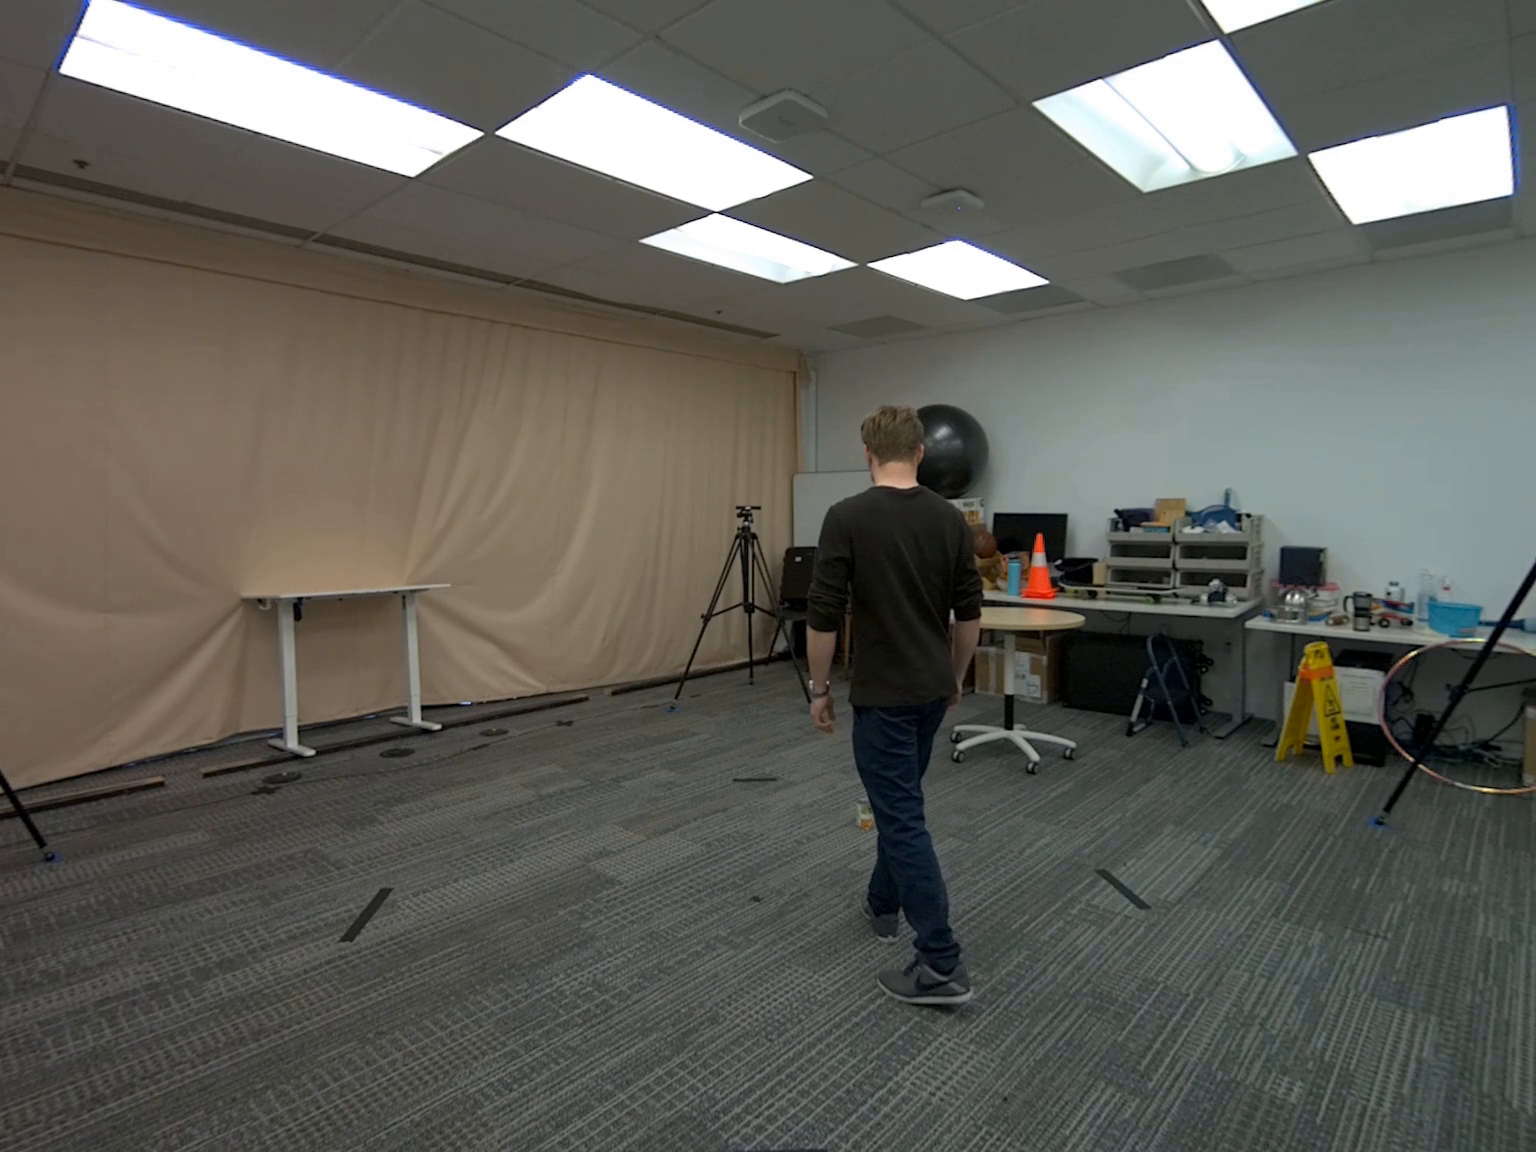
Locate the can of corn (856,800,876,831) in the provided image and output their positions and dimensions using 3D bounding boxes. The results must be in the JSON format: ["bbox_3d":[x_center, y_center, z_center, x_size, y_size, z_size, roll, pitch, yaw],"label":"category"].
[{"bbox_3d":[0.423,1.030,3.653,0.074,0.111,0.074,-1,3,-2],"label":"can of corn"}]
